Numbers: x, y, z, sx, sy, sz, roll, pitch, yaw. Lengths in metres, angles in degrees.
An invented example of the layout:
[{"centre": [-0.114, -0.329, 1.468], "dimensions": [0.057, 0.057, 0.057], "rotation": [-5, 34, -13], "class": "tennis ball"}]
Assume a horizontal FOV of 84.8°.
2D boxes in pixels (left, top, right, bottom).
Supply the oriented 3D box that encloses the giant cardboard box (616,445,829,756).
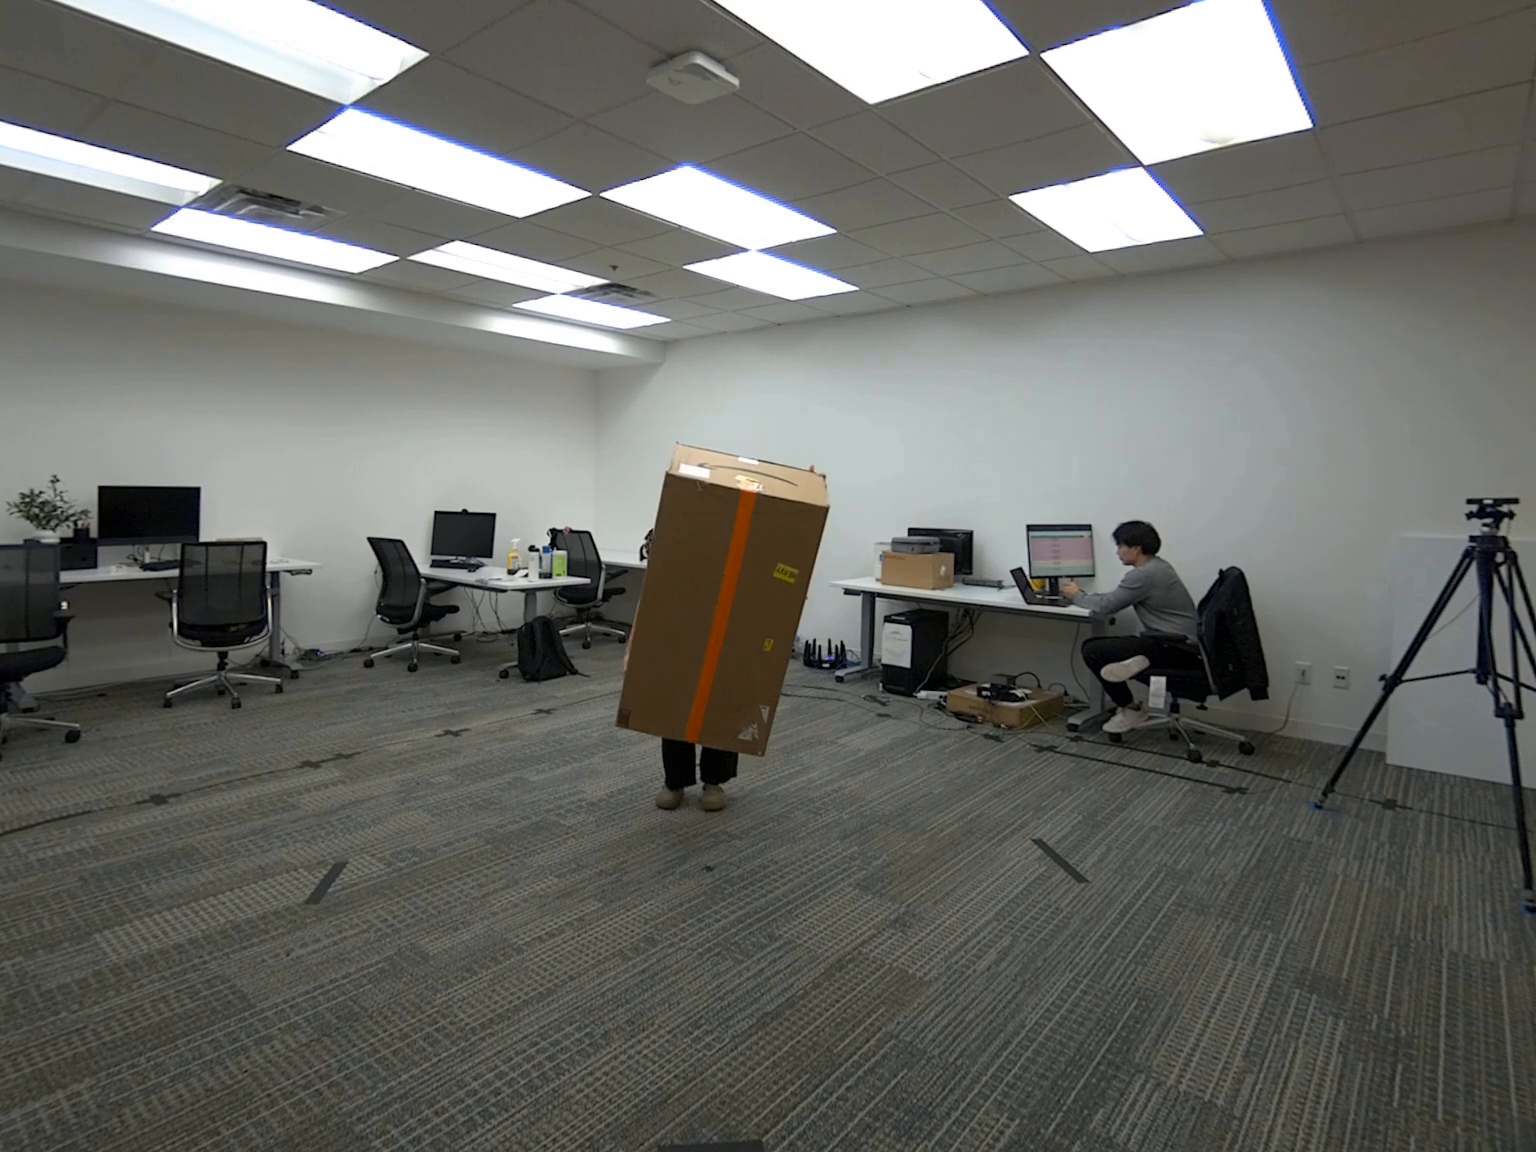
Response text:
[{"centre": [-0.196, 0.091, 3.235], "dimensions": [0.576, 1.012, 0.433], "rotation": [12, 20, -3], "class": "giant cardboard box"}]
